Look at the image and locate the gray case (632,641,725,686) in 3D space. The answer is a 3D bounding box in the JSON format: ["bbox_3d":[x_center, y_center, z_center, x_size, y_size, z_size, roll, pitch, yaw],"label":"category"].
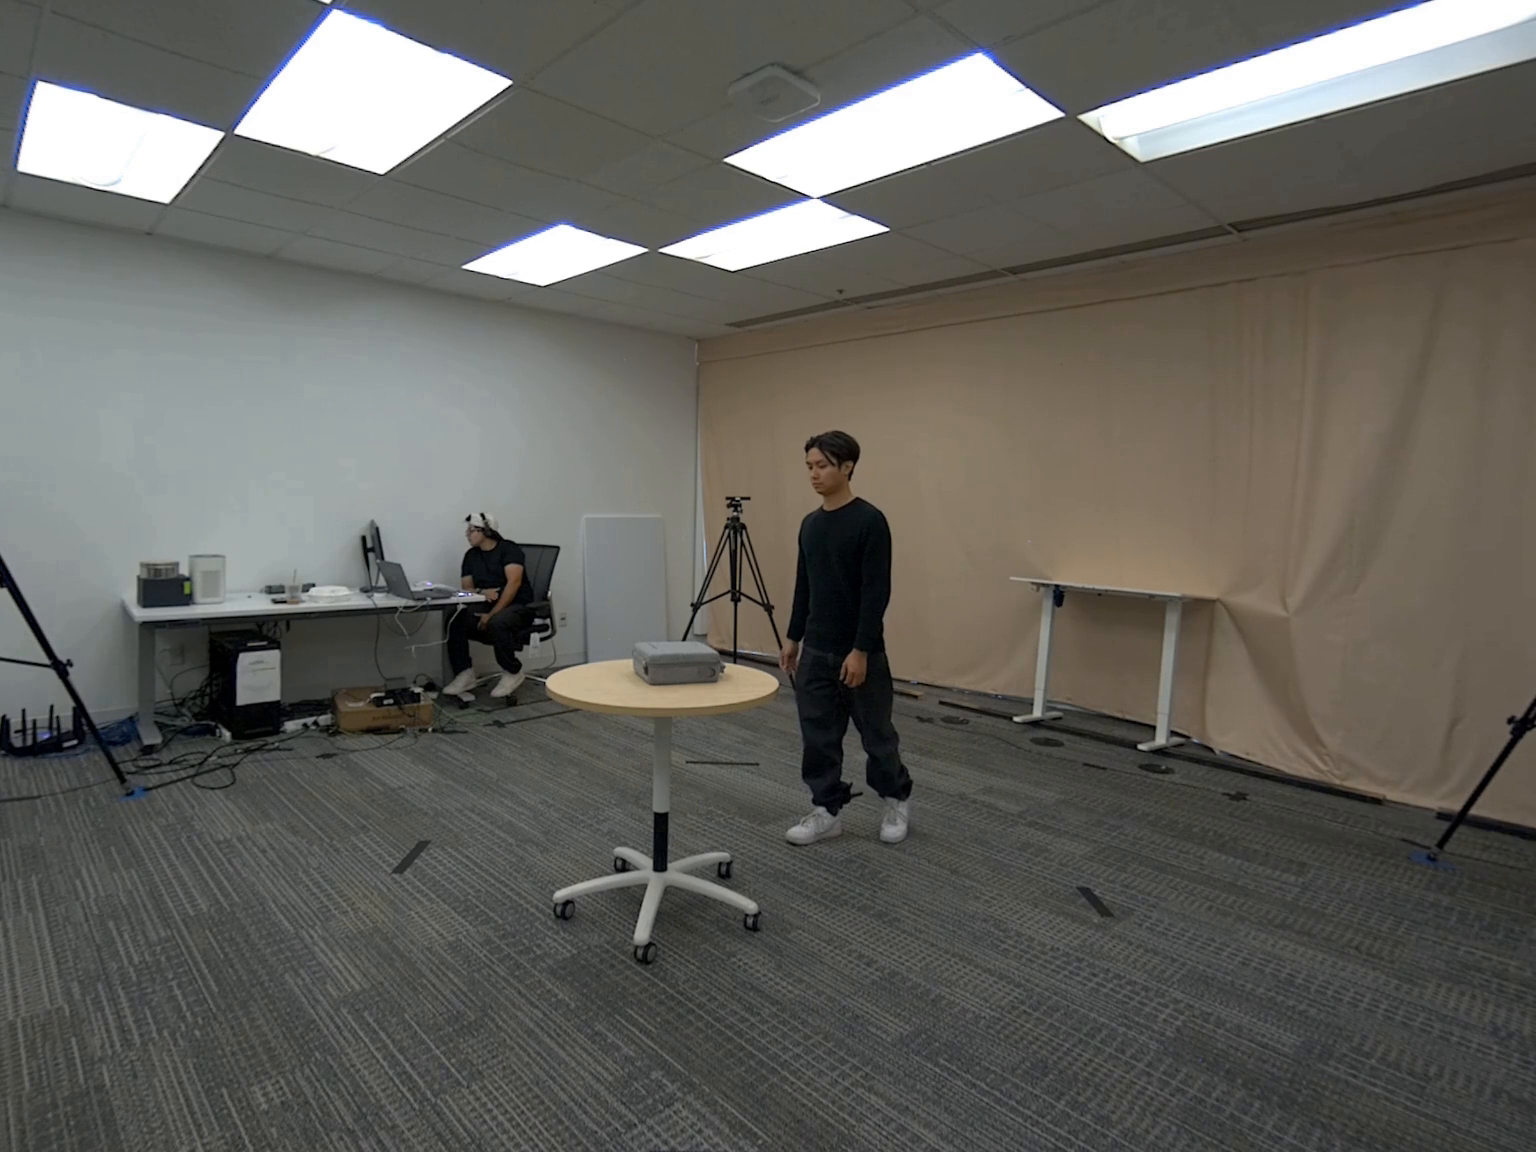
[{"bbox_3d":[-0.312,0.289,2.847,0.257,0.104,0.261,0,4,-21],"label":"gray case"}]
